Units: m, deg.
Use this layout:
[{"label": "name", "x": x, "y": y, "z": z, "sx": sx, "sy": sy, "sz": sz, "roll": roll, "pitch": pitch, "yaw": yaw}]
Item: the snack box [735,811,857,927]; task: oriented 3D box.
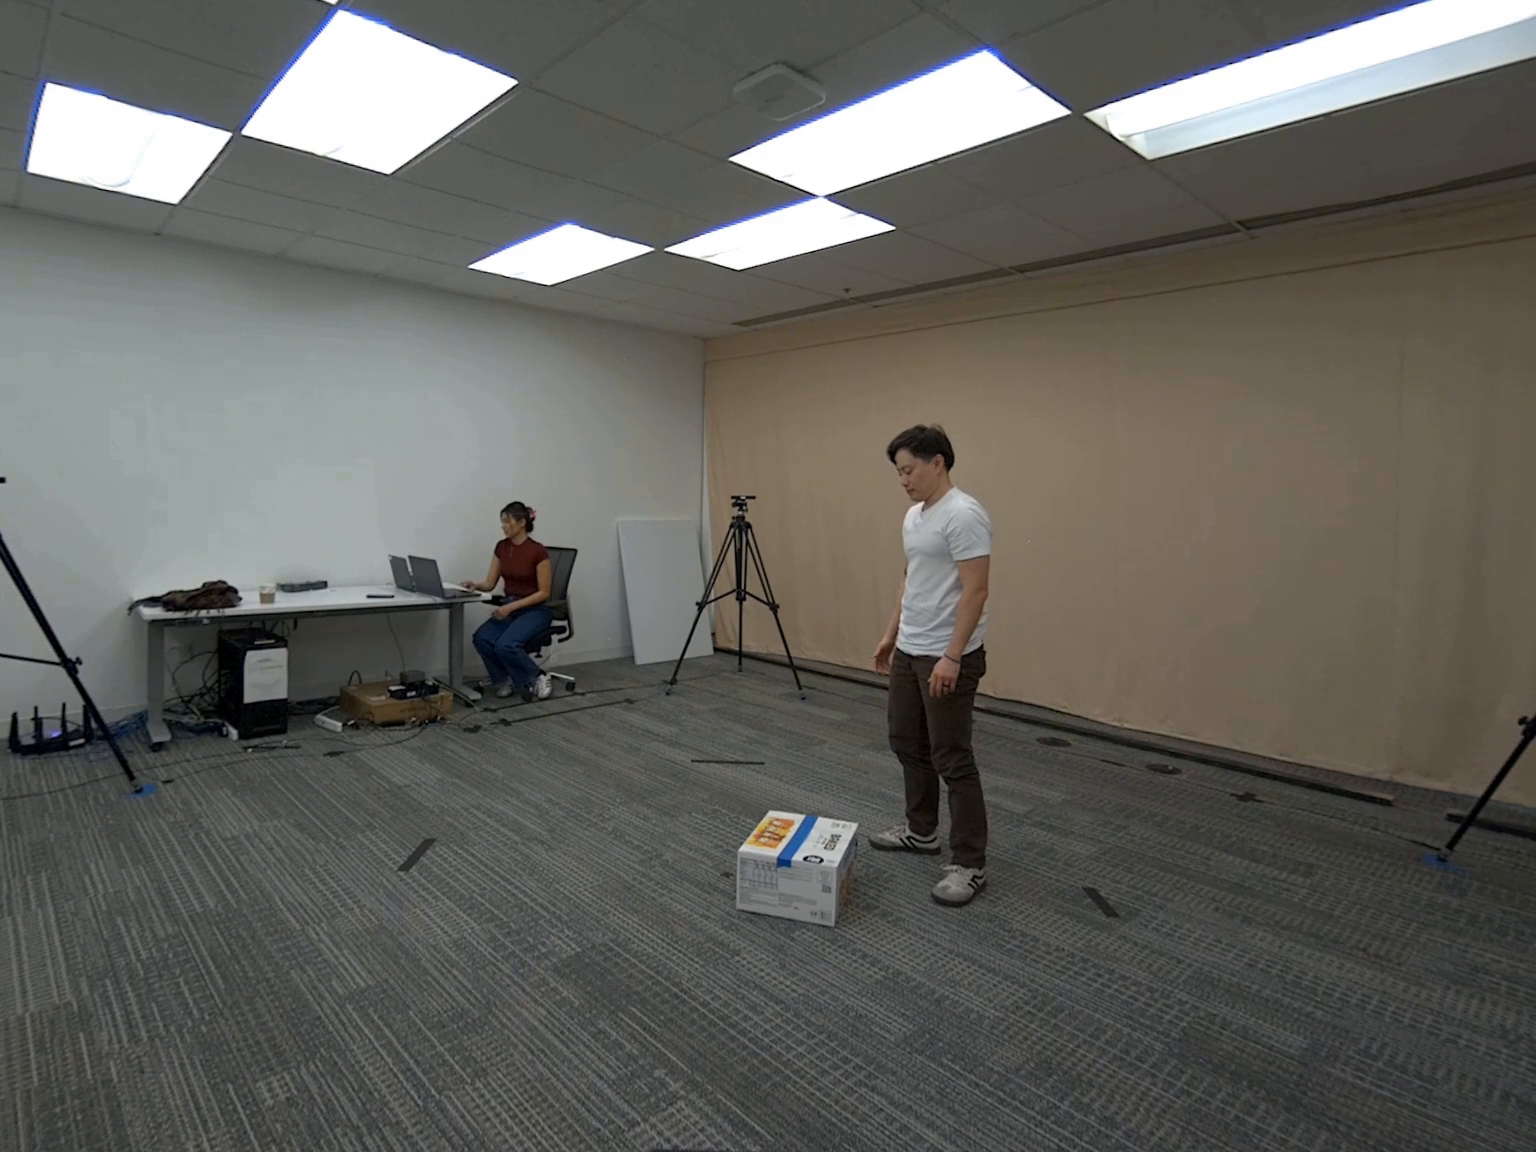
[{"label": "snack box", "x": 0.102, "y": 1.018, "z": 2.962, "sx": 0.345, "sy": 0.205, "sz": 0.400, "roll": 2, "pitch": 5, "yaw": 17}]
